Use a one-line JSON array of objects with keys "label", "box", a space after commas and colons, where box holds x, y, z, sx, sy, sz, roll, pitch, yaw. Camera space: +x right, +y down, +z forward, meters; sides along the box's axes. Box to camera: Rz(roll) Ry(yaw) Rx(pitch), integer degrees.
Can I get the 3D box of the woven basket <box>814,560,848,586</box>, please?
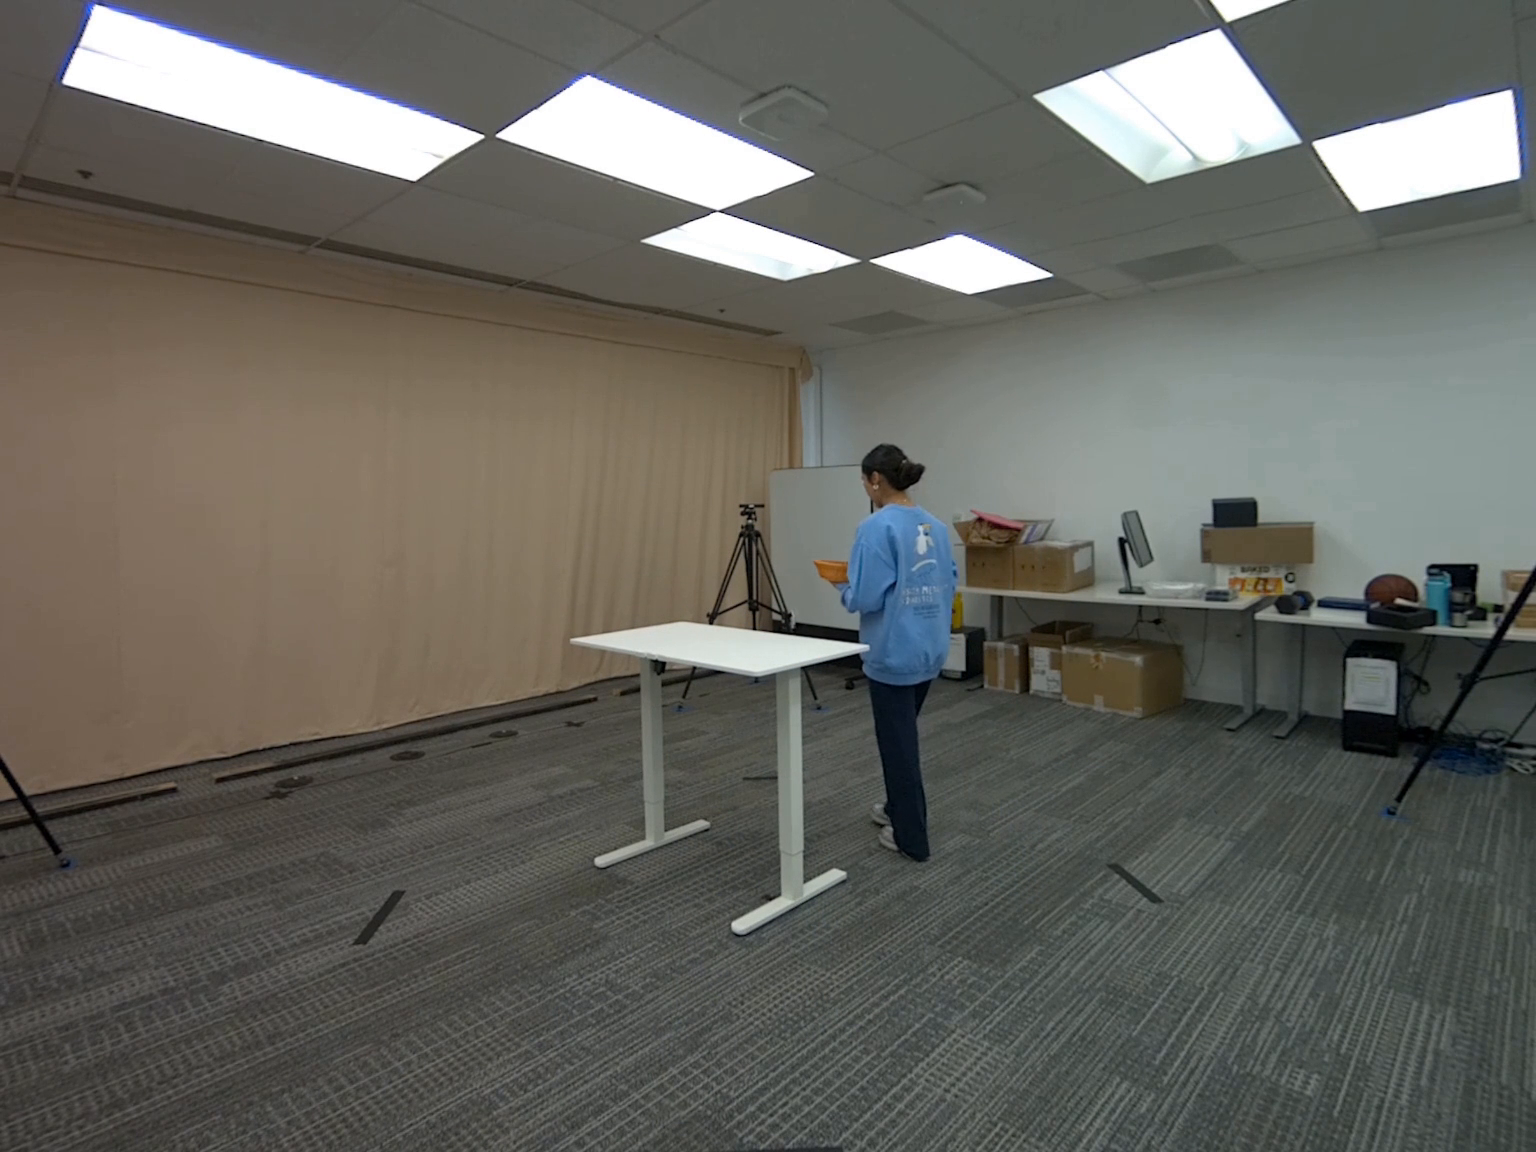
[{"label": "woven basket", "box": [0.366, -0.012, 3.526, 0.340, 0.073, 0.260, 2, 4, -32]}]
